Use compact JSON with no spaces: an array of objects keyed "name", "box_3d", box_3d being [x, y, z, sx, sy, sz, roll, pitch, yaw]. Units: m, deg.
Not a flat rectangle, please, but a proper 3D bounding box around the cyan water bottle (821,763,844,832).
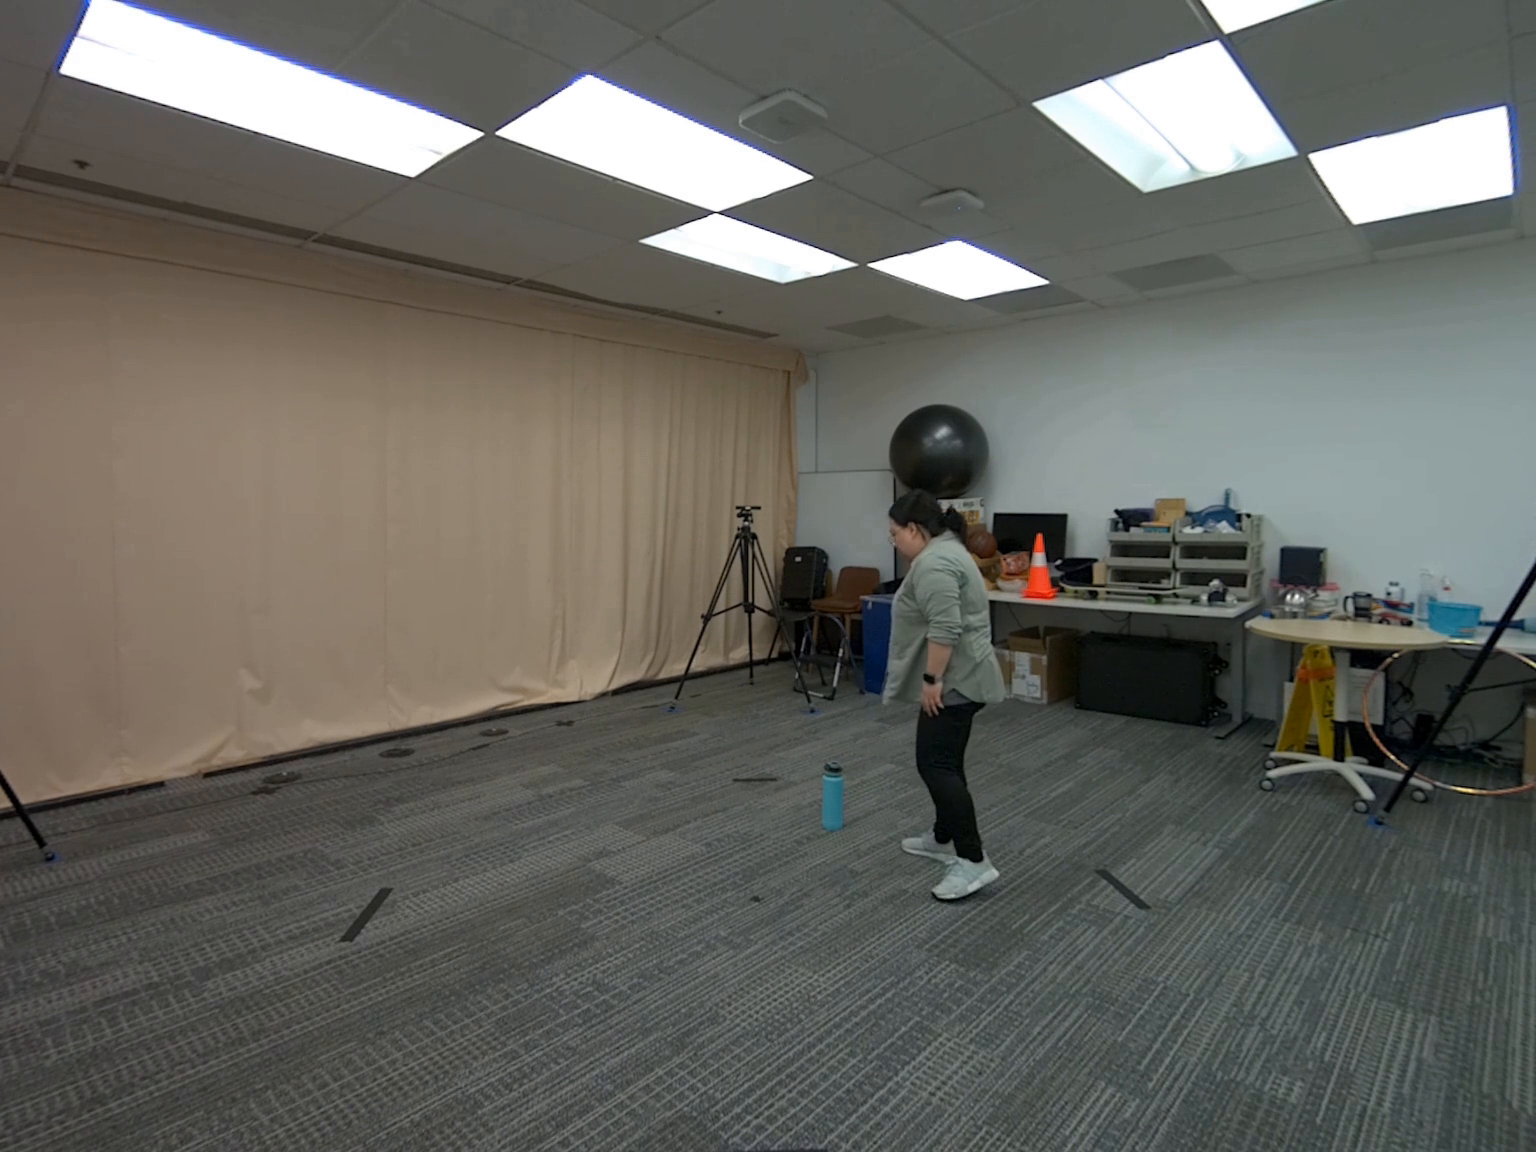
[{"name":"cyan water bottle","box_3d":[0.285,0.949,3.656,0.092,0.283,0.092,0,2,-2]}]
